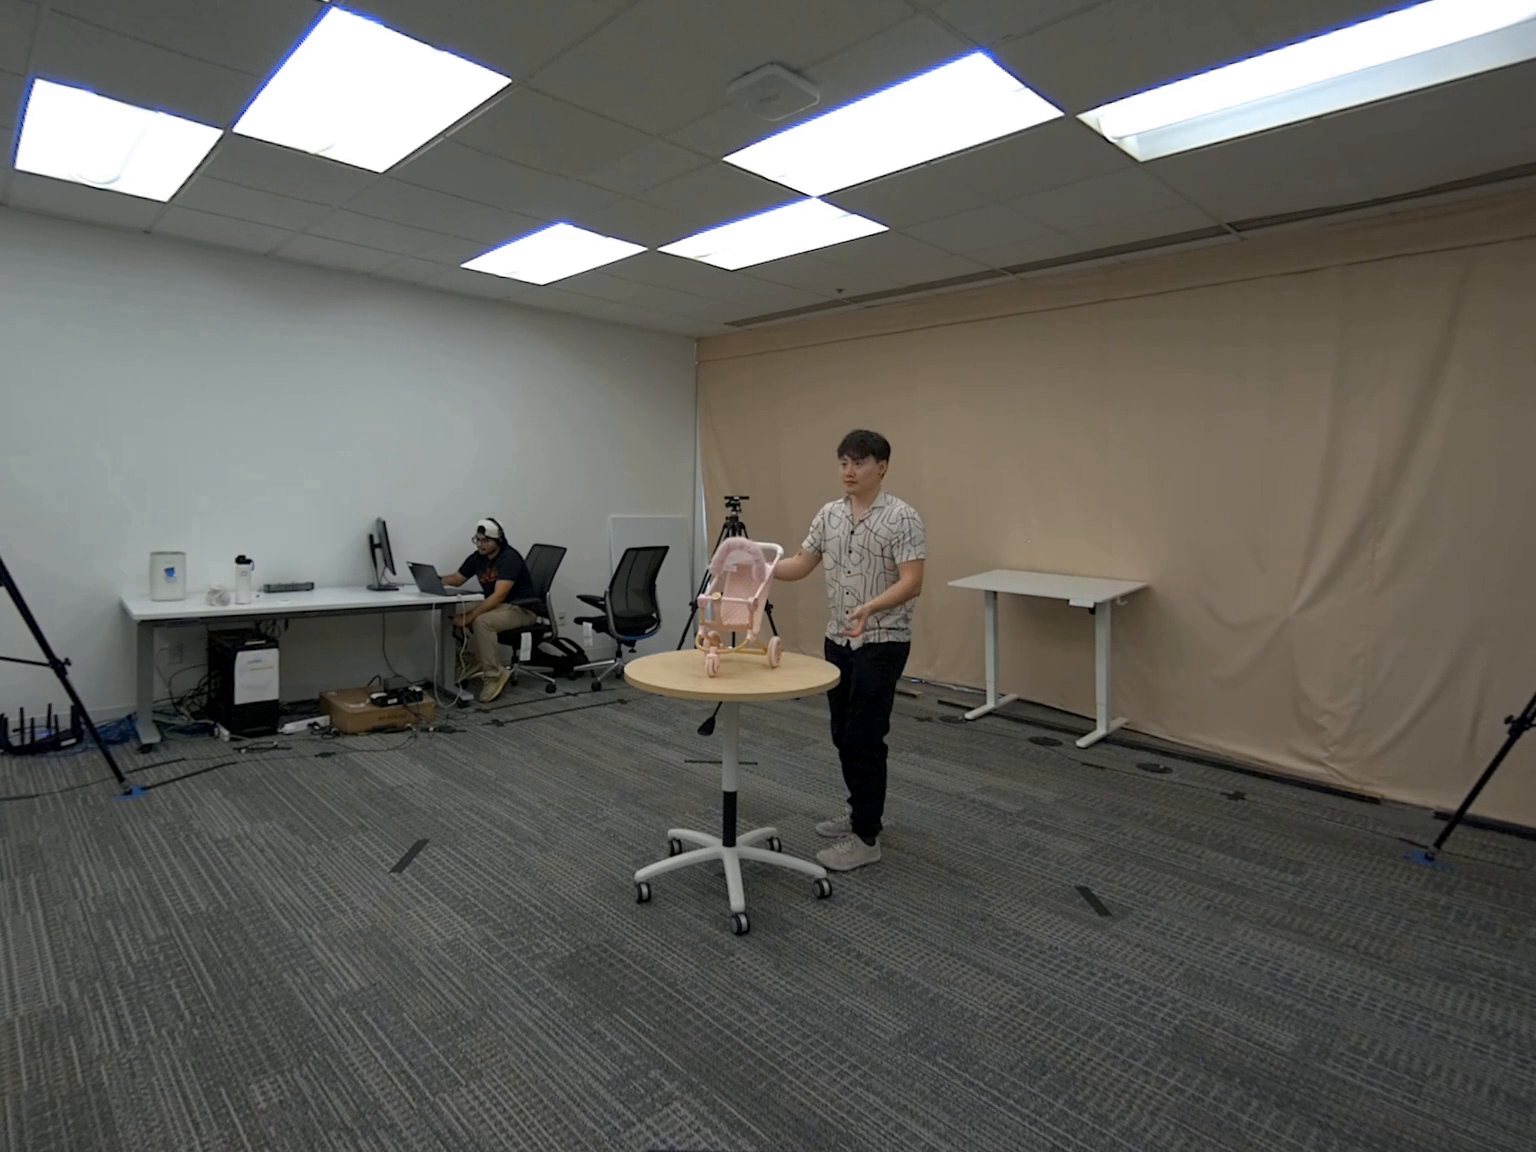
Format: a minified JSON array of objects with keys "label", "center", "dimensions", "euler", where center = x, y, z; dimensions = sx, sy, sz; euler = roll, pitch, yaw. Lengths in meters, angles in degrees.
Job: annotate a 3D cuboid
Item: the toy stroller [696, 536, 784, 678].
[{"label":"toy stroller","center":[-0.123,0.105,3.008],"dimensions":[0.287,0.538,0.332],"euler":[2,-12,27]}]
